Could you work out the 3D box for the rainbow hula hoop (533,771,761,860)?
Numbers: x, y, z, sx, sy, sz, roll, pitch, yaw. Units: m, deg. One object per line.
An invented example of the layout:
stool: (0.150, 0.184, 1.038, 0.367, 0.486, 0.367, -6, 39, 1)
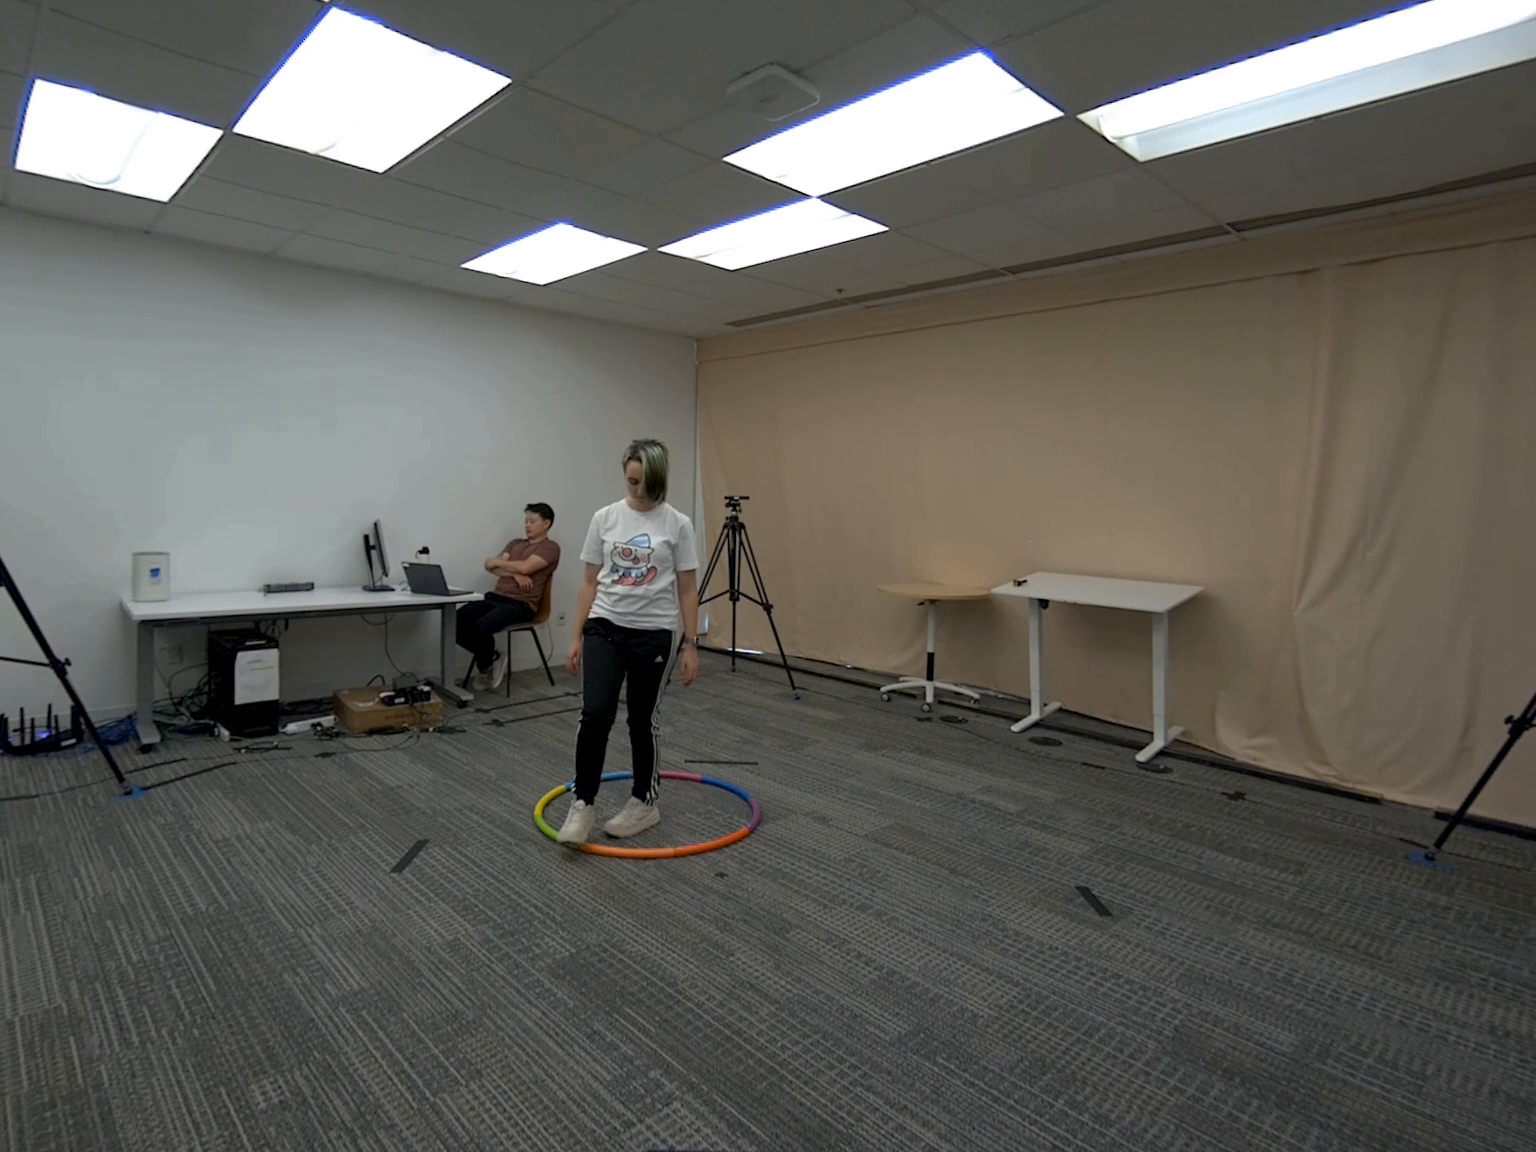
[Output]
rainbow hula hoop: (-0.530, 1.015, 3.705, 0.985, 0.051, 0.989, 2, 5, -1)
